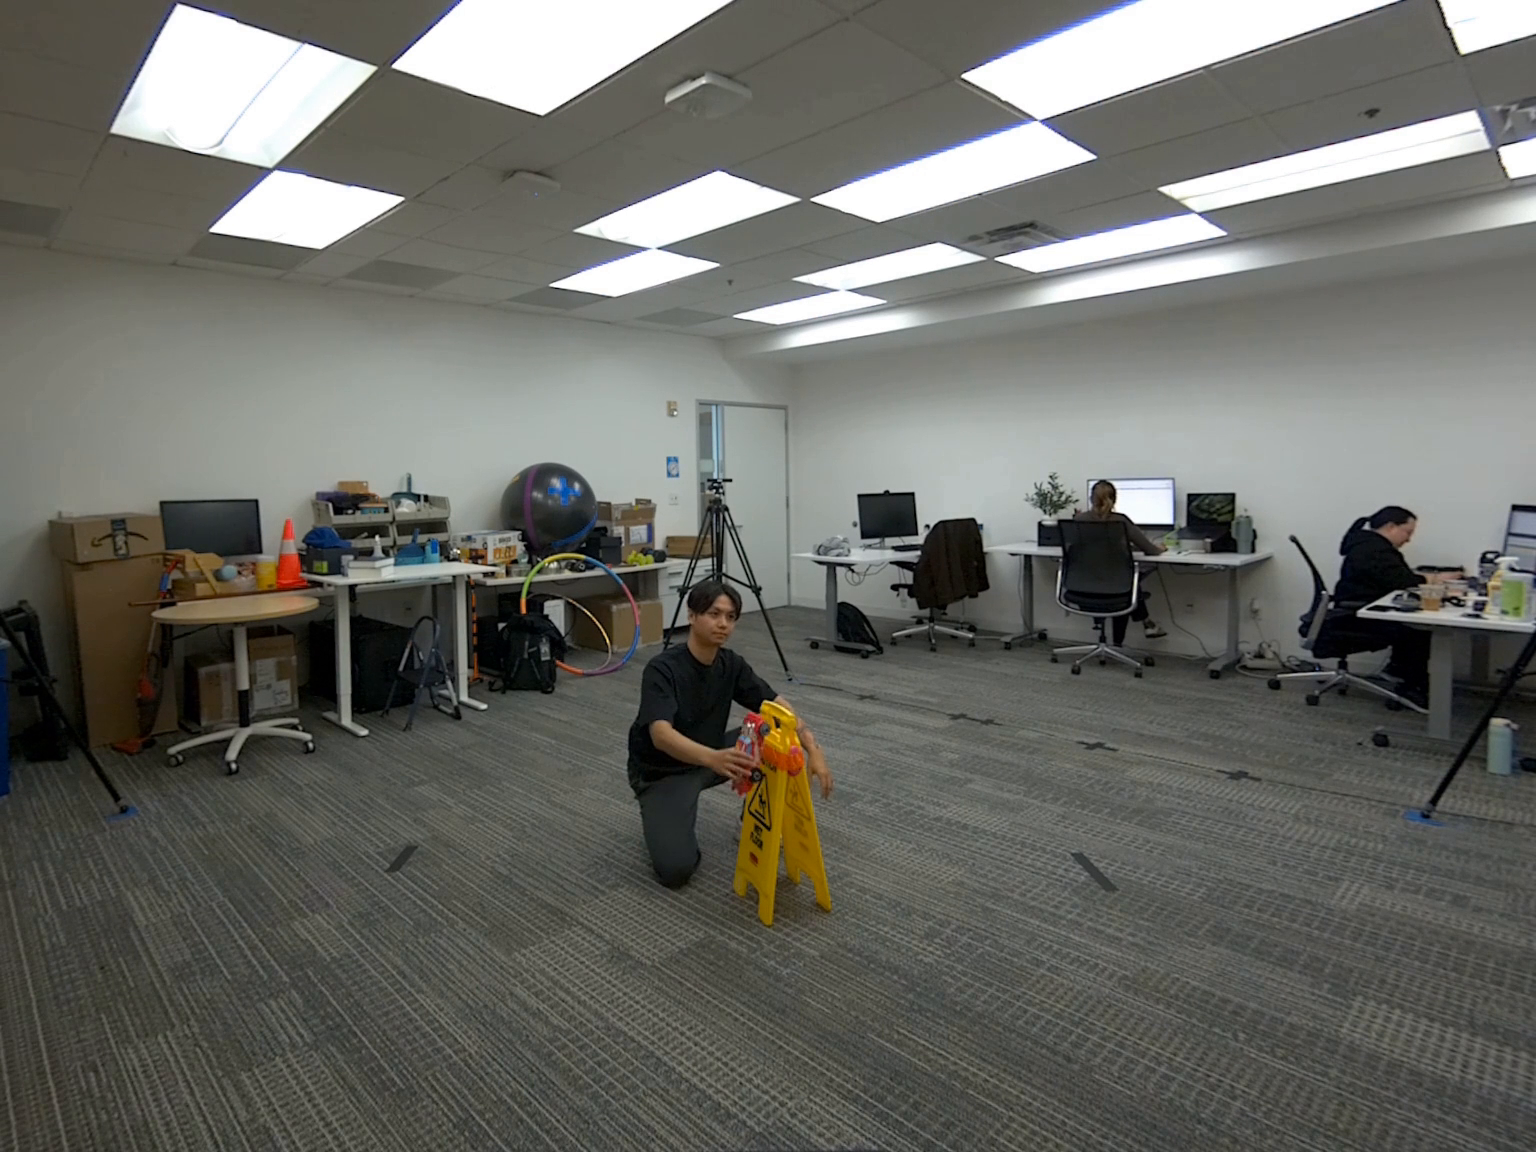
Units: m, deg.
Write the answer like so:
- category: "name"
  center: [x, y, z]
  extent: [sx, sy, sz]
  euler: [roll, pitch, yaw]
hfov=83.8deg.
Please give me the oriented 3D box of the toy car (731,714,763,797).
- category: "toy car"
  center: [-0.060, 0.576, 2.738]
  extent: [0.081, 0.255, 0.134]
  euler: [25, -5, -26]
